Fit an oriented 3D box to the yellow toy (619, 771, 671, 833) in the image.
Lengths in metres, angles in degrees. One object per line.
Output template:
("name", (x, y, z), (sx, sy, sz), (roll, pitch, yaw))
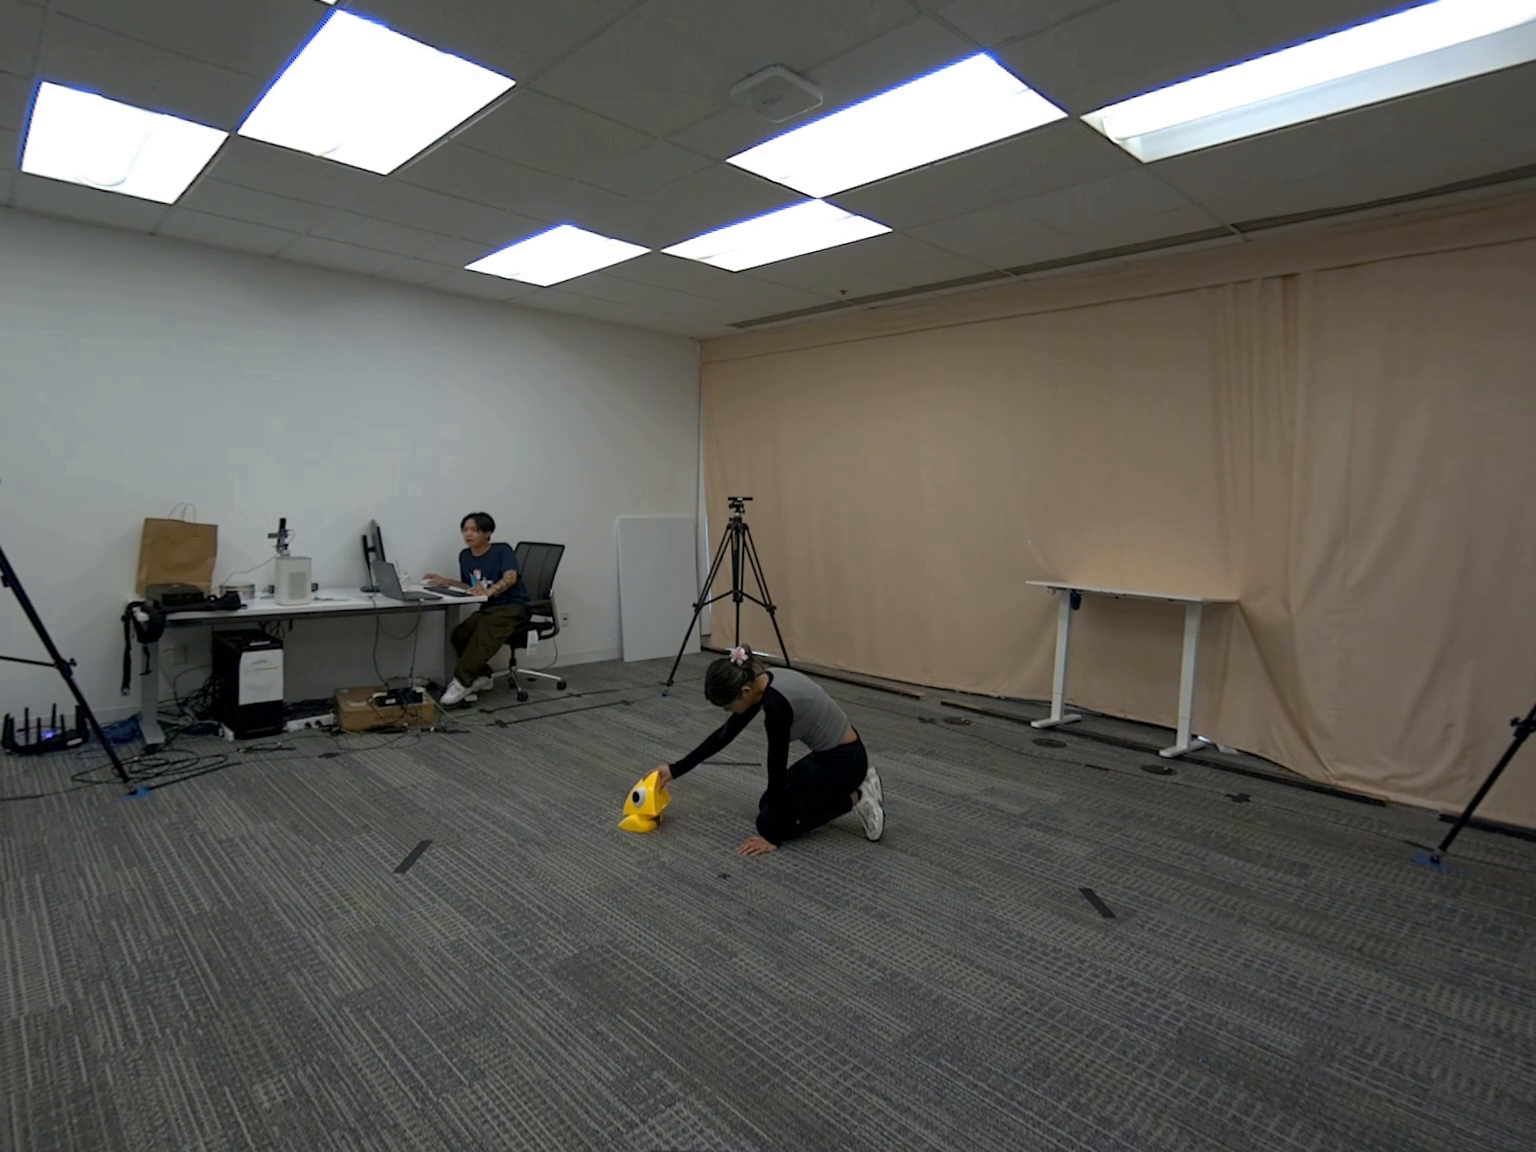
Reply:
("yellow toy", (-0.542, 0.942, 3.594), (0.195, 0.230, 0.203), (3, 6, 14))
